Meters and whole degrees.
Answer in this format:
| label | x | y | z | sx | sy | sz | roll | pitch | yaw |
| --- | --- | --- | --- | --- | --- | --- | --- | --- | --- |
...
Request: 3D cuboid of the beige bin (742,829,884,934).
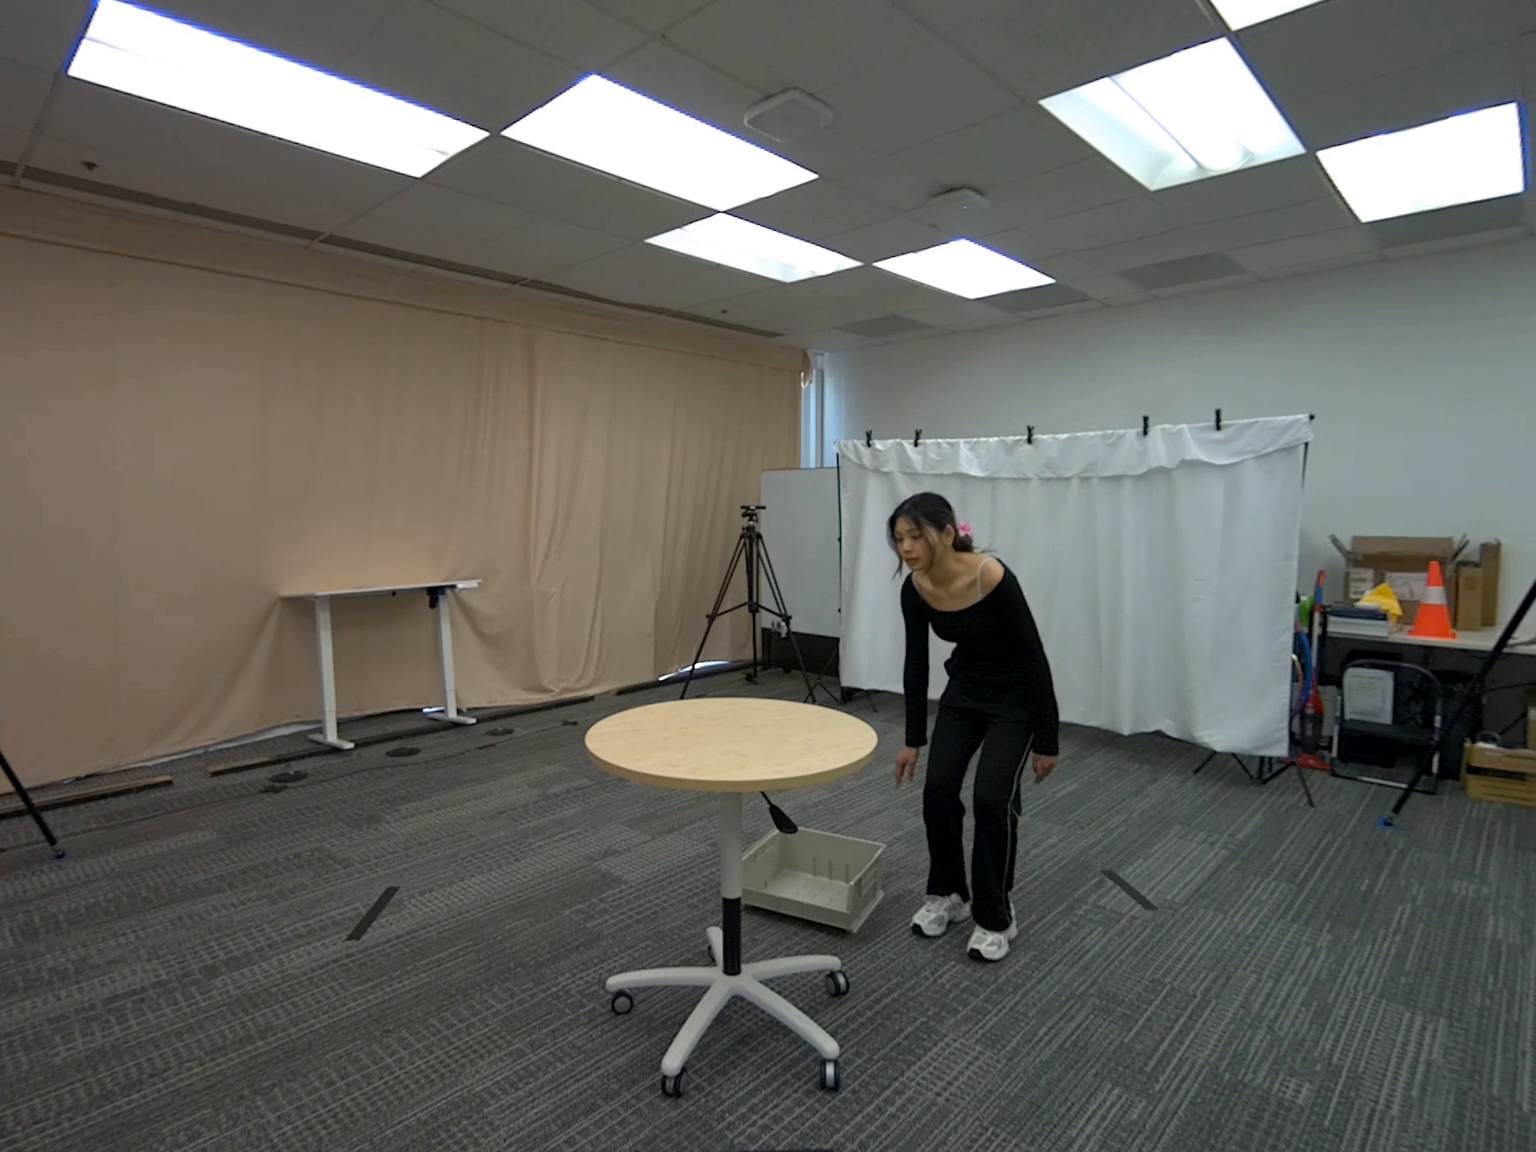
| label | x | y | z | sx | sy | sz | roll | pitch | yaw |
| --- | --- | --- | --- | --- | --- | --- | --- | --- | --- |
| beige bin | 0.161 | 1.059 | 2.950 | 0.434 | 0.188 | 0.368 | 2 | 4 | 28 |
